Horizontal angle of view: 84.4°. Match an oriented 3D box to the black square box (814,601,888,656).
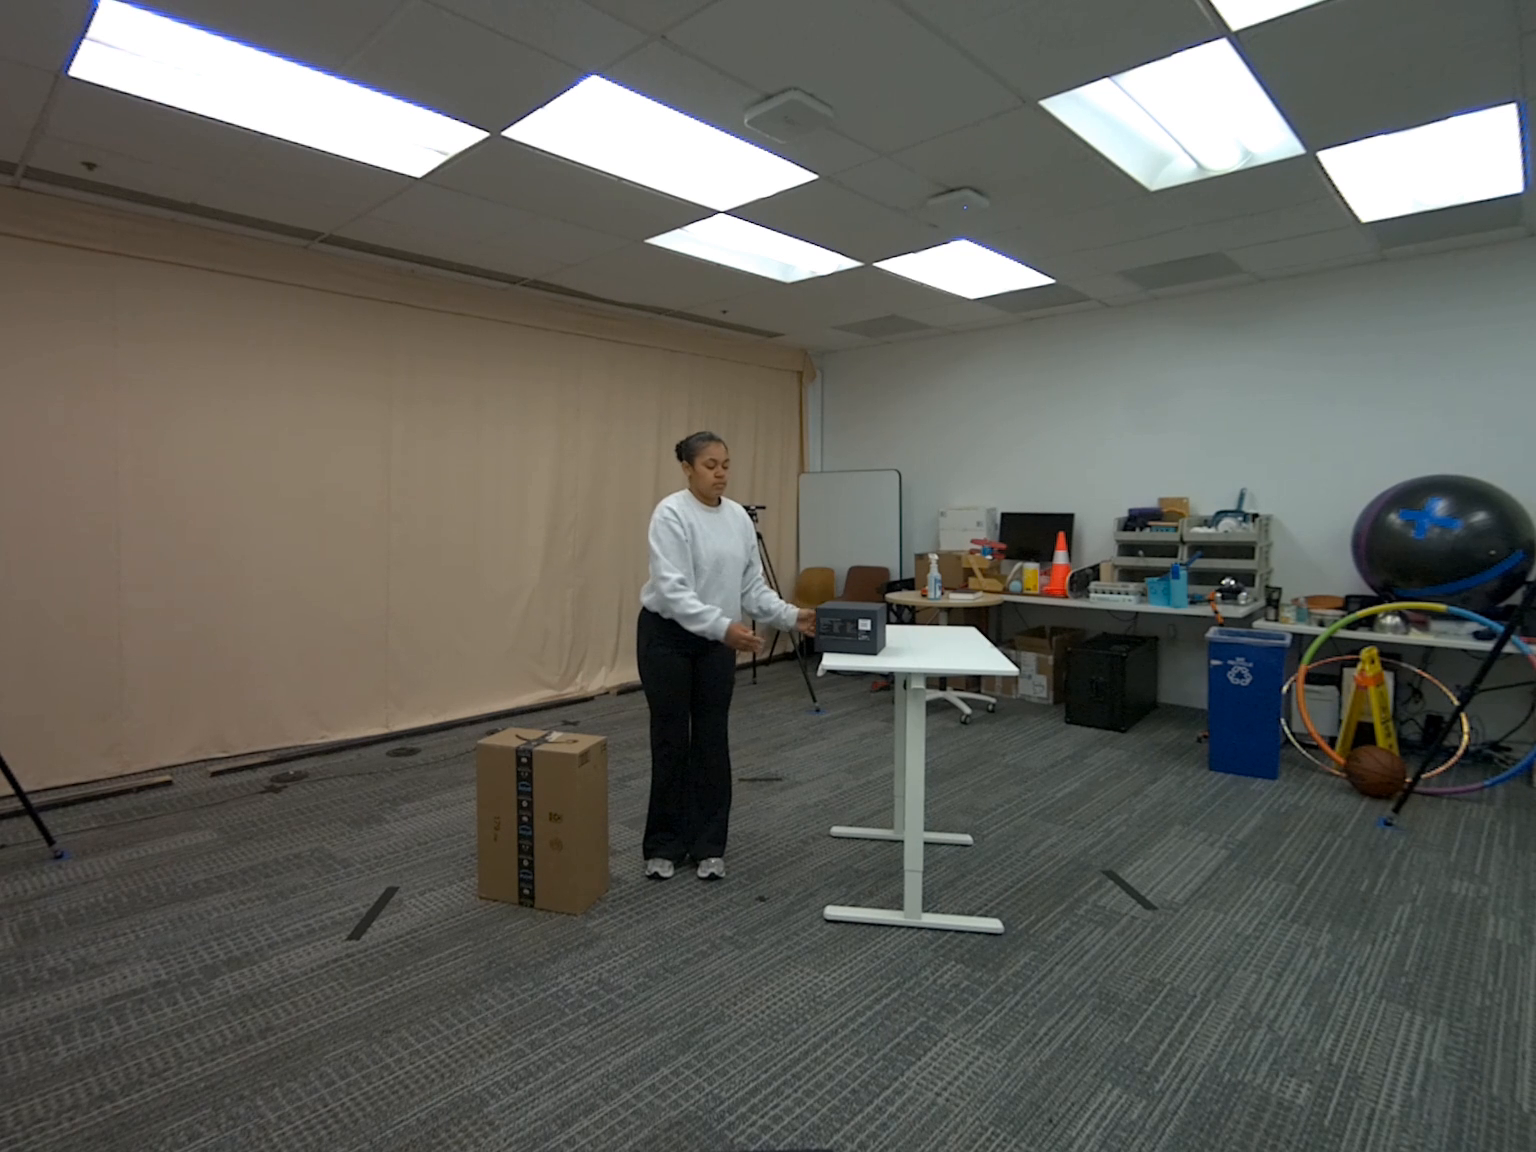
[{"bbox_3d":[0.299,0.180,2.963,0.221,0.155,0.224,2,4,17],"label":"black square box"}]
